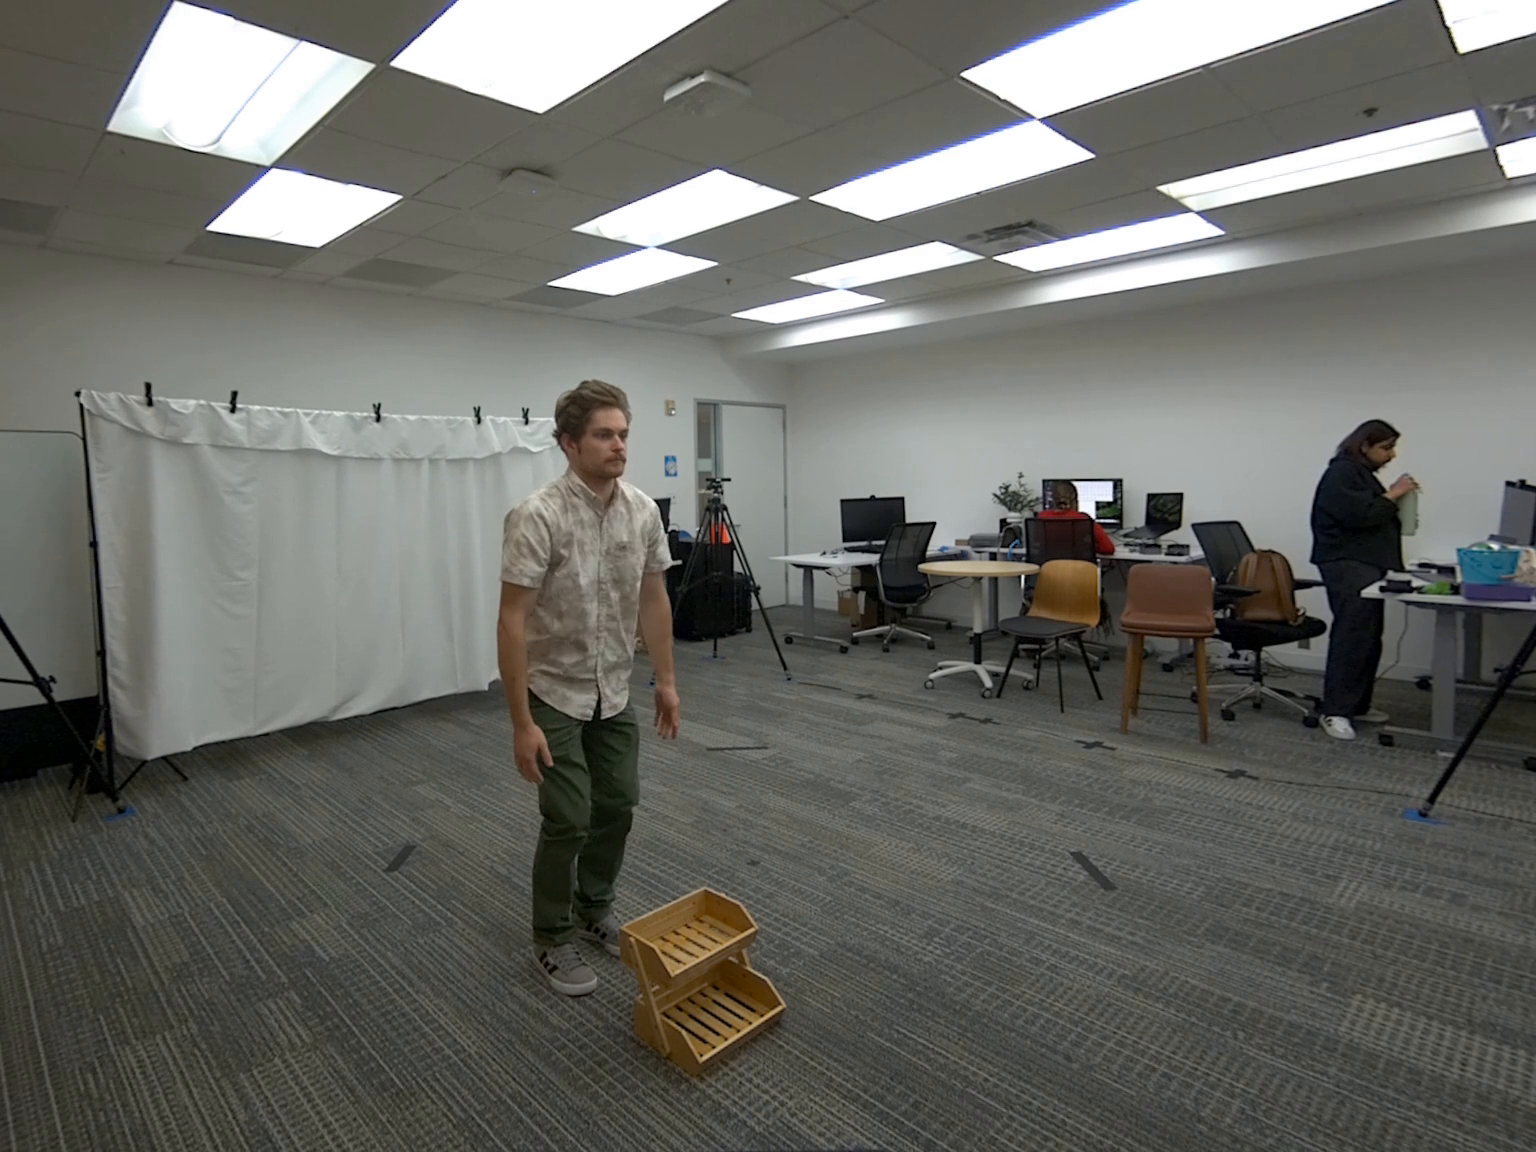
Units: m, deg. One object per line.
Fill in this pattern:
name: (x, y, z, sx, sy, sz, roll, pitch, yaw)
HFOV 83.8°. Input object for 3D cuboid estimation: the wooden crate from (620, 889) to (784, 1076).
wooden crate: (-0.162, 1.022, 2.187, 0.311, 0.272, 0.316, 3, 7, 45)
